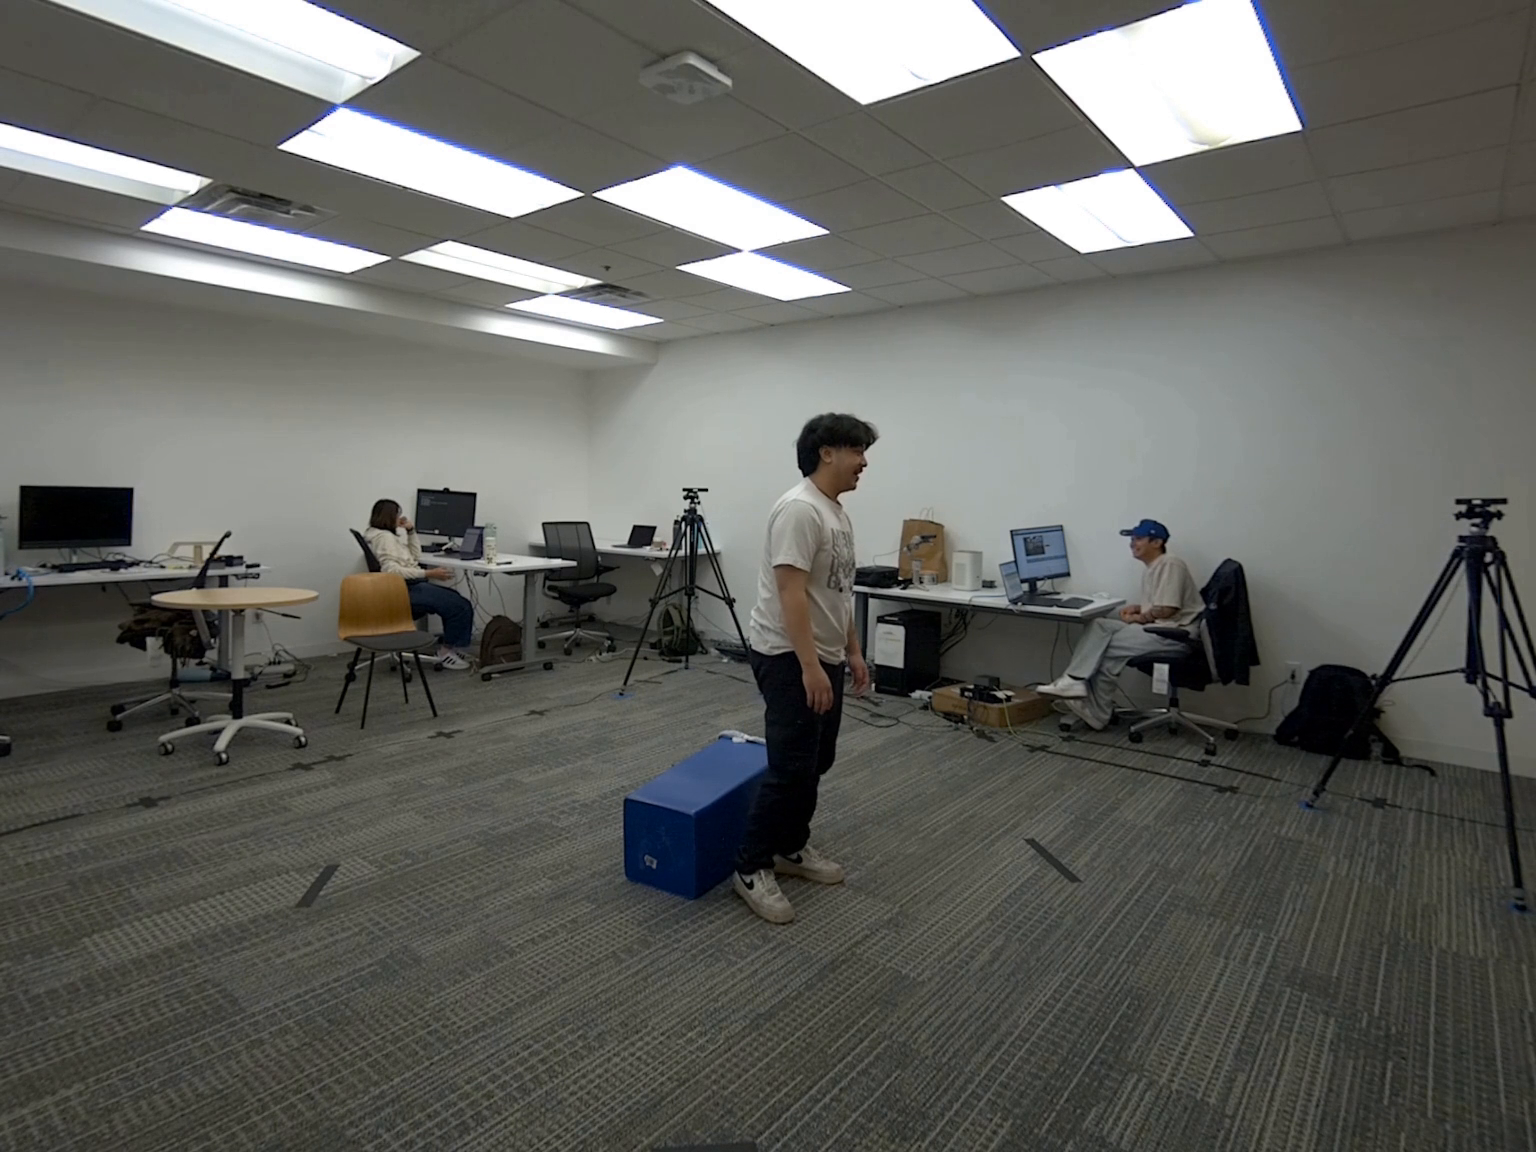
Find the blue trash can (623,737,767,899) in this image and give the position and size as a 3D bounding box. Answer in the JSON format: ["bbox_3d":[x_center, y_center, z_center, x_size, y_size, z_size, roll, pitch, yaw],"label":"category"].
[{"bbox_3d":[-0.225,0.894,3.233,0.389,0.371,0.698,5,10,29],"label":"blue trash can"}]
